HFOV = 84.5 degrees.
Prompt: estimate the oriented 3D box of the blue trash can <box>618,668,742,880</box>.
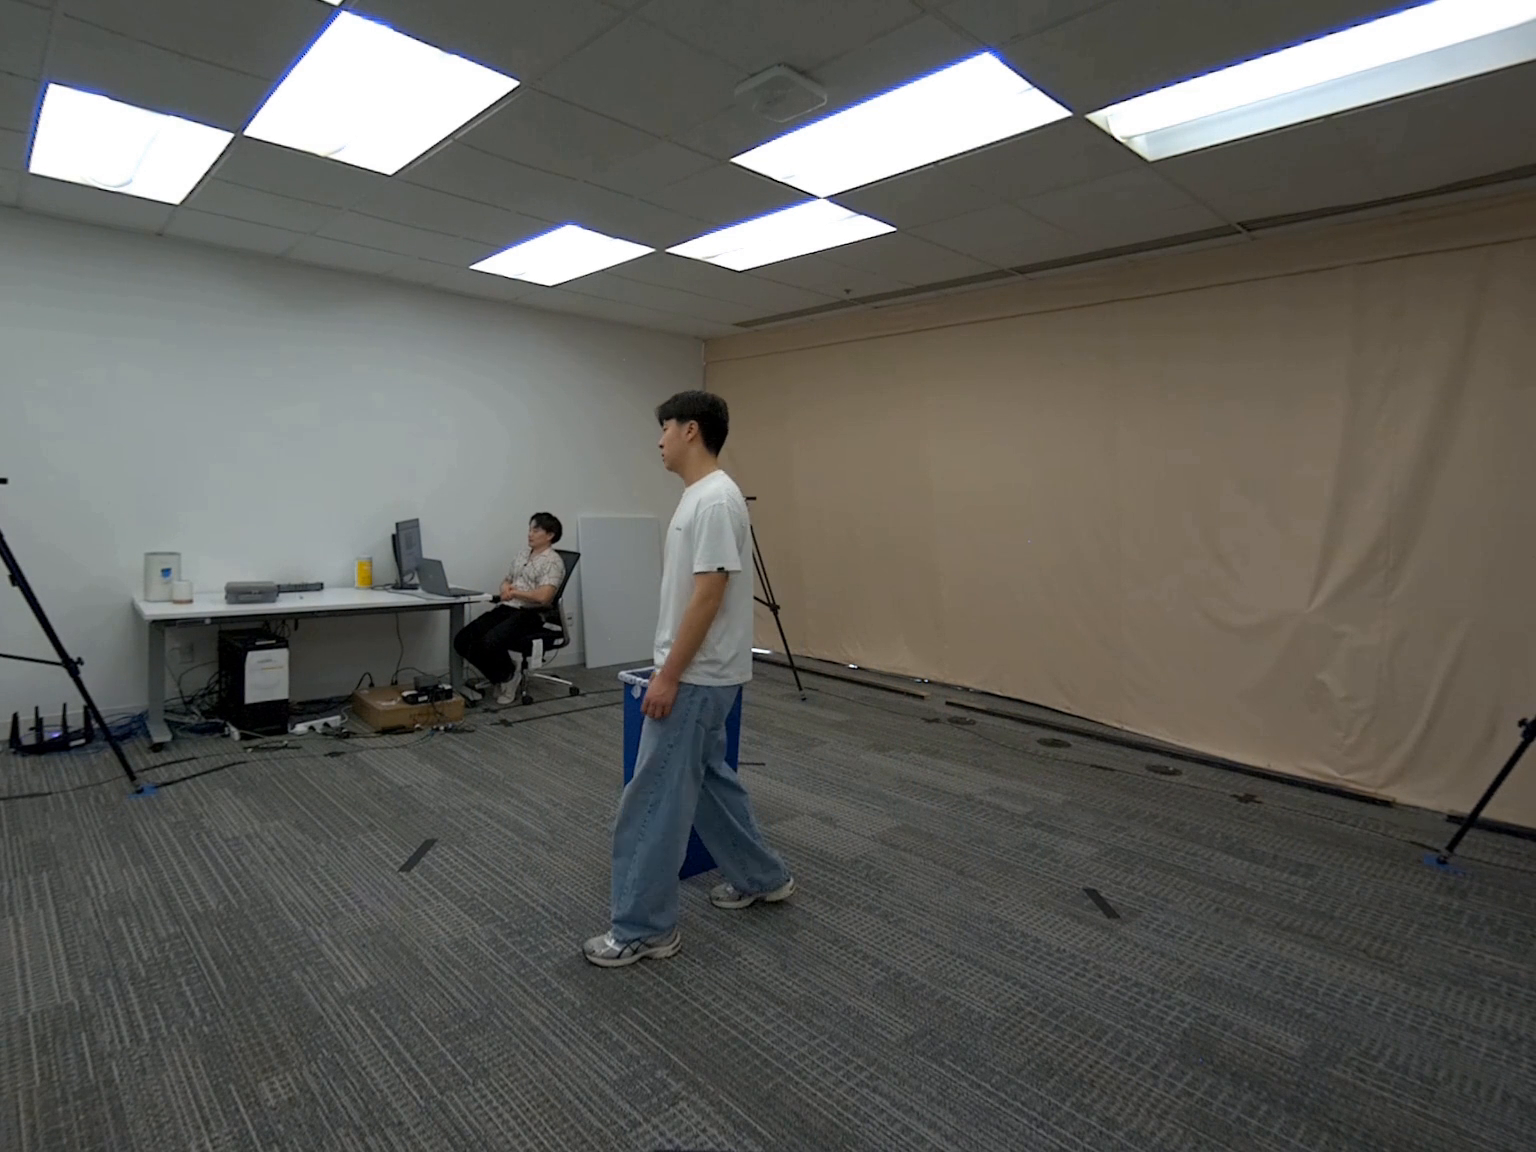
[{"bbox_3d":[-0.336,0.734,3.227,0.365,0.712,0.388,-2,5,-43],"label":"blue trash can"}]
